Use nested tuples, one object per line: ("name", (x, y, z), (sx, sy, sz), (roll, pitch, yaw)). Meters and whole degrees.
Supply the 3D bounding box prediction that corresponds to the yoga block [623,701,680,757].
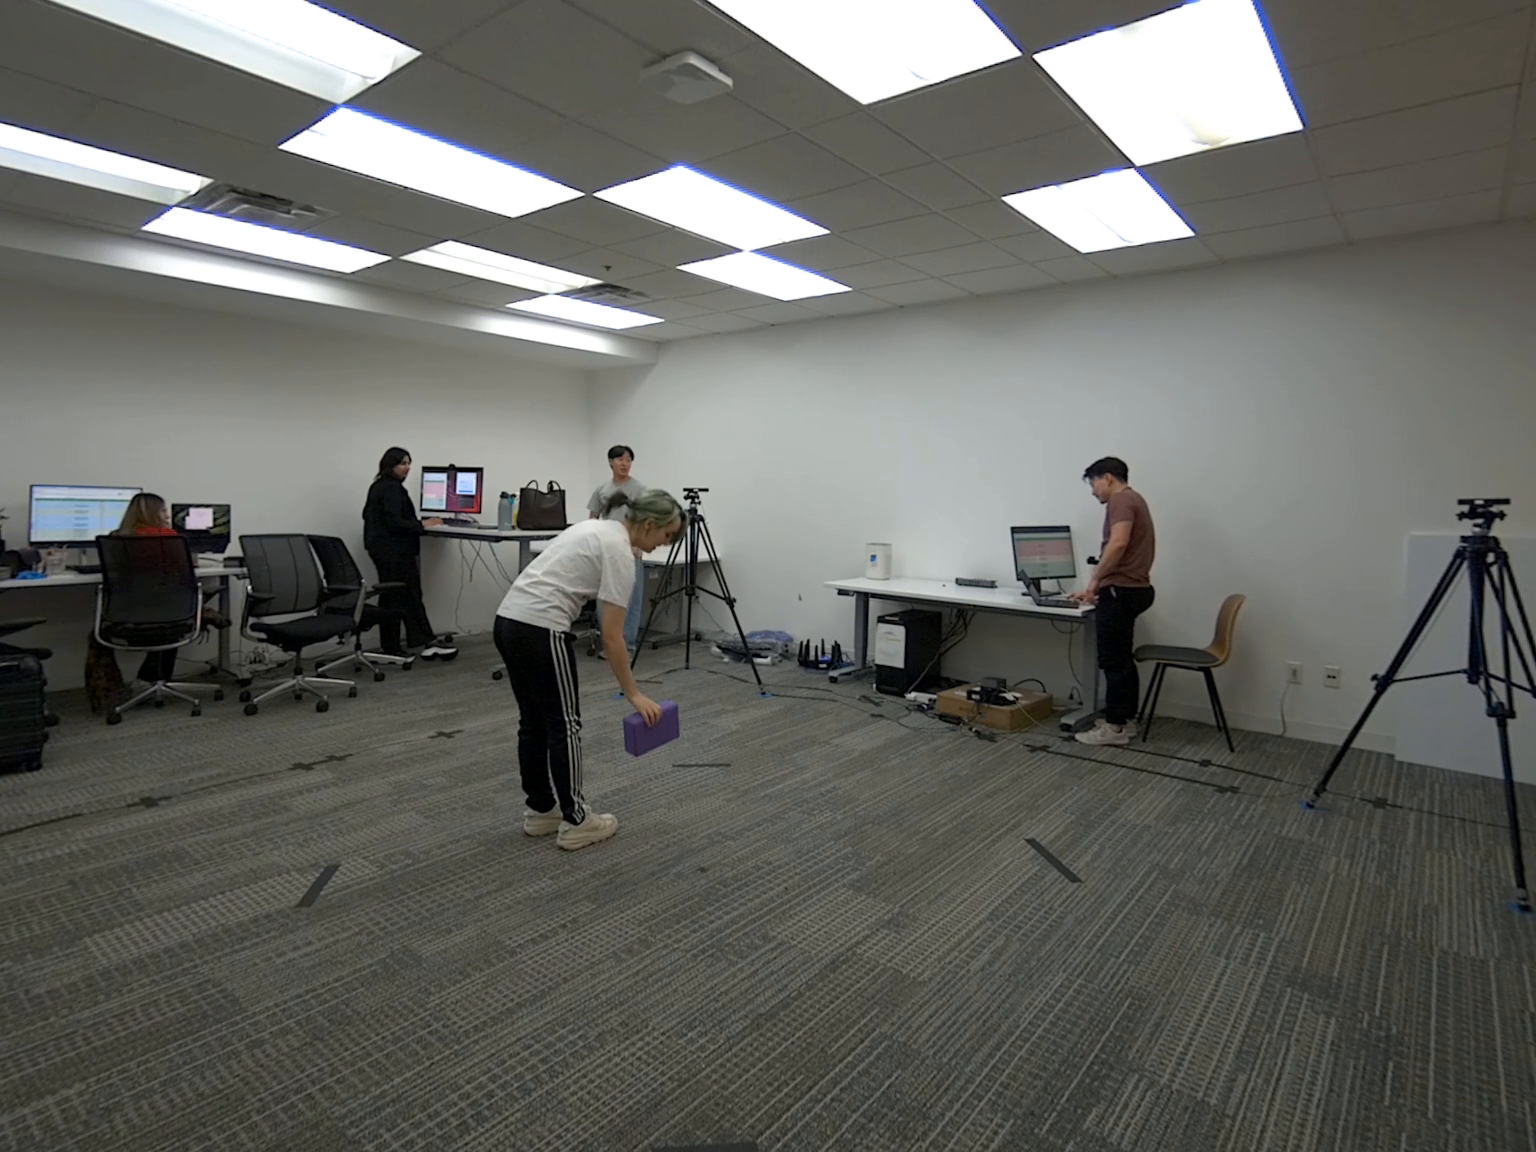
("yoga block", (-0.468, 0.592, 3.322), (0.224, 0.147, 0.079), (-16, 19, -42))
